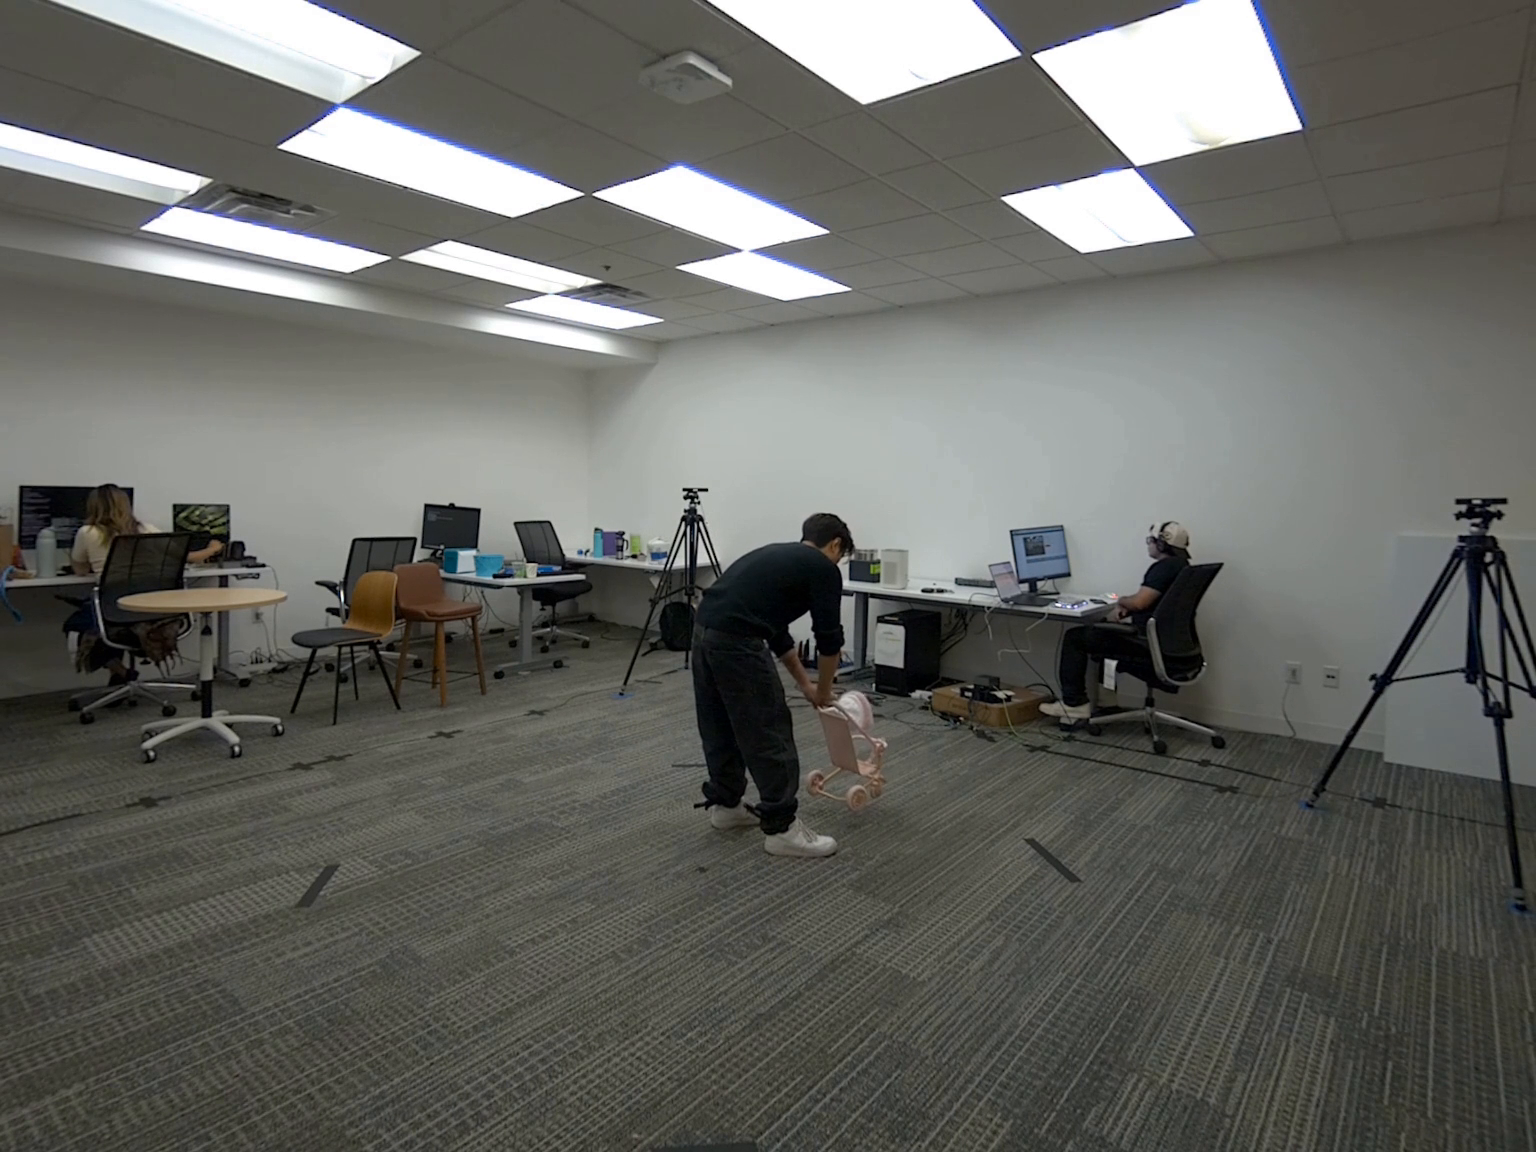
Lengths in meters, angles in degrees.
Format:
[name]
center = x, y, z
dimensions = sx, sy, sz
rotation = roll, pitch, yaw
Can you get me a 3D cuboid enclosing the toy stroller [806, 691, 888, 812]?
[toy stroller]
center = 0.348, 0.740, 3.660
dimensions = 0.333, 0.532, 0.290
rotation = -10, 7, -34
